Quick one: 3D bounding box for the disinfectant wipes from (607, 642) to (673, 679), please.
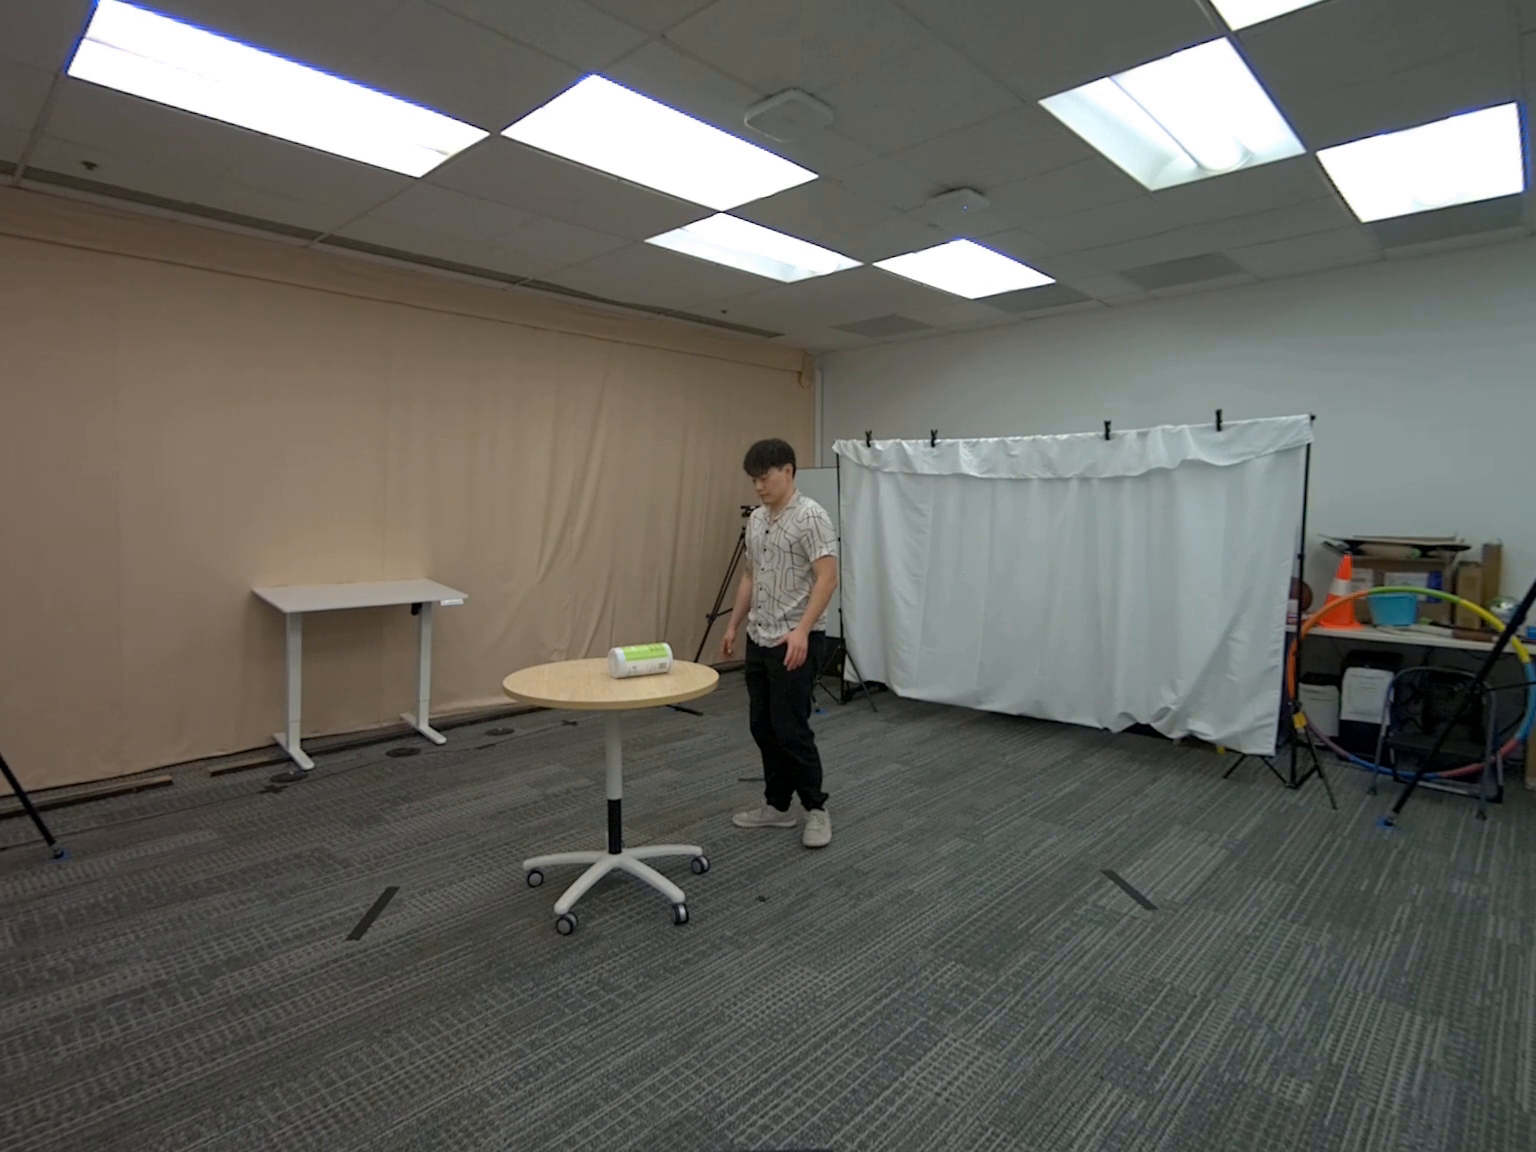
[{"bbox_3d":[-0.455,0.302,3.044,0.212,0.117,0.121,-4,5,-29],"label":"disinfectant wipes"}]
